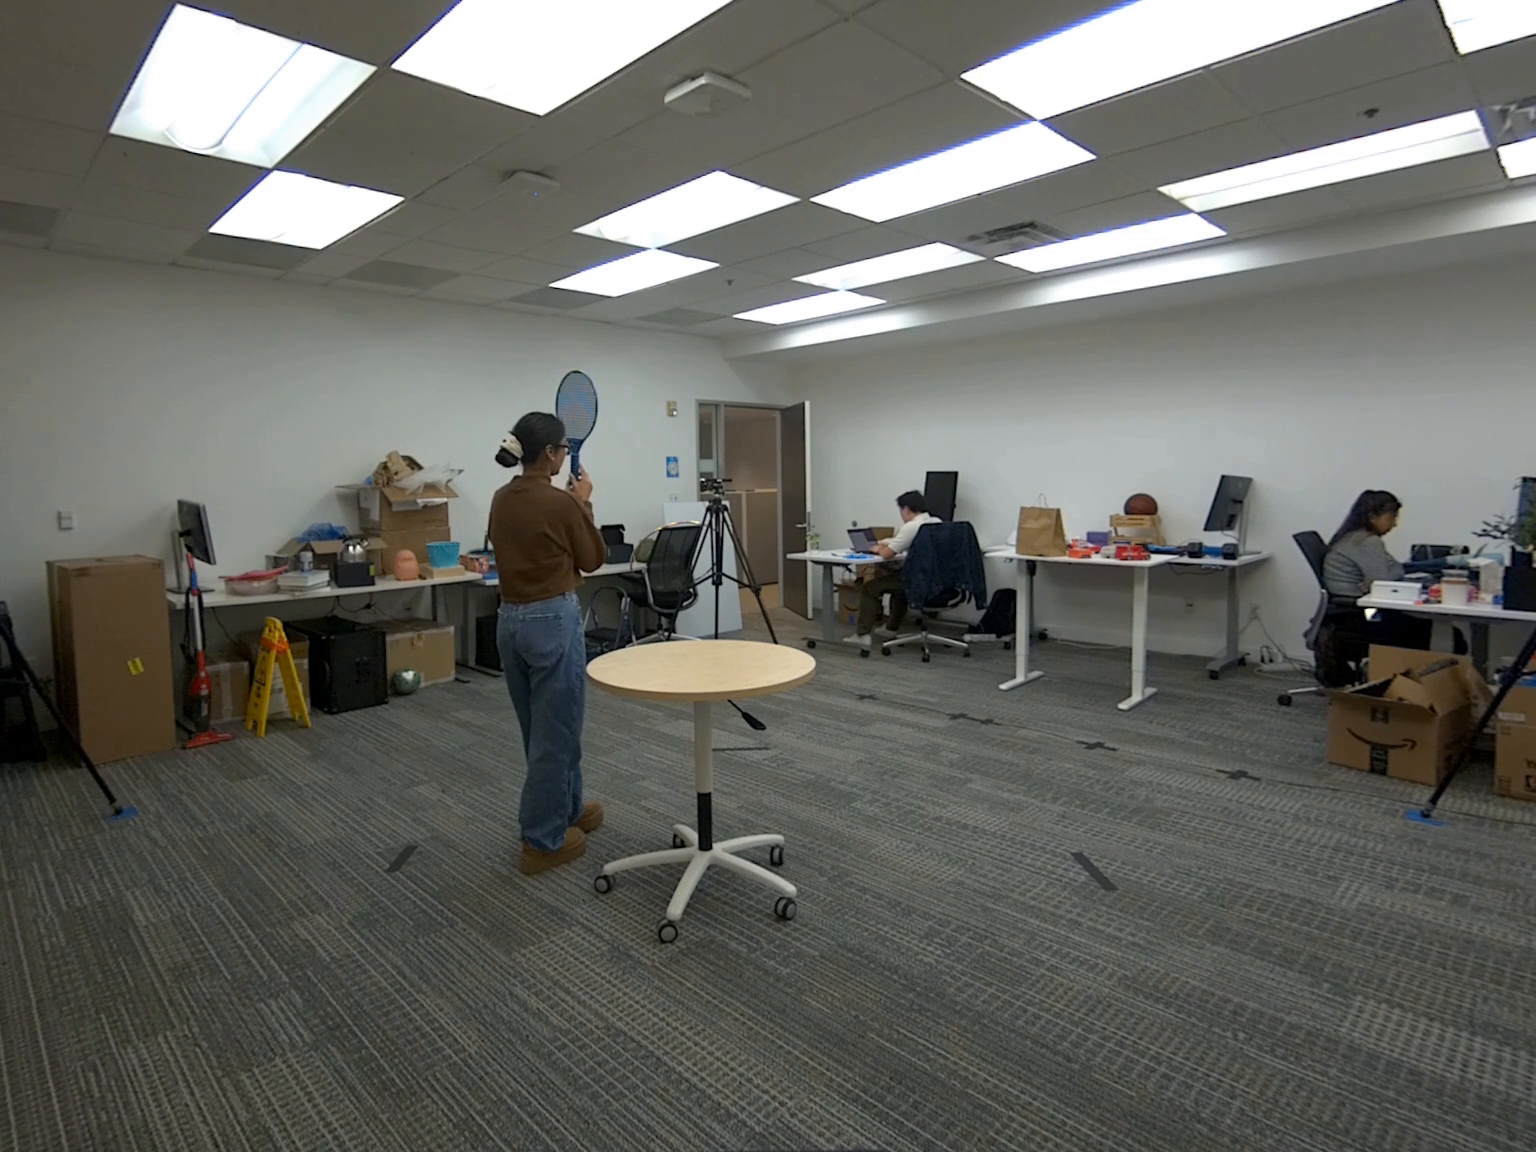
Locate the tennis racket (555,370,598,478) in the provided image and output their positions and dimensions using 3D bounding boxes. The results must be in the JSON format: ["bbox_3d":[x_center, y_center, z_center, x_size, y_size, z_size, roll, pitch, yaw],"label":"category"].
[{"bbox_3d":[-0.720,-0.554,3.214,0.220,0.430,0.031,6,8,33],"label":"tennis racket"}]
